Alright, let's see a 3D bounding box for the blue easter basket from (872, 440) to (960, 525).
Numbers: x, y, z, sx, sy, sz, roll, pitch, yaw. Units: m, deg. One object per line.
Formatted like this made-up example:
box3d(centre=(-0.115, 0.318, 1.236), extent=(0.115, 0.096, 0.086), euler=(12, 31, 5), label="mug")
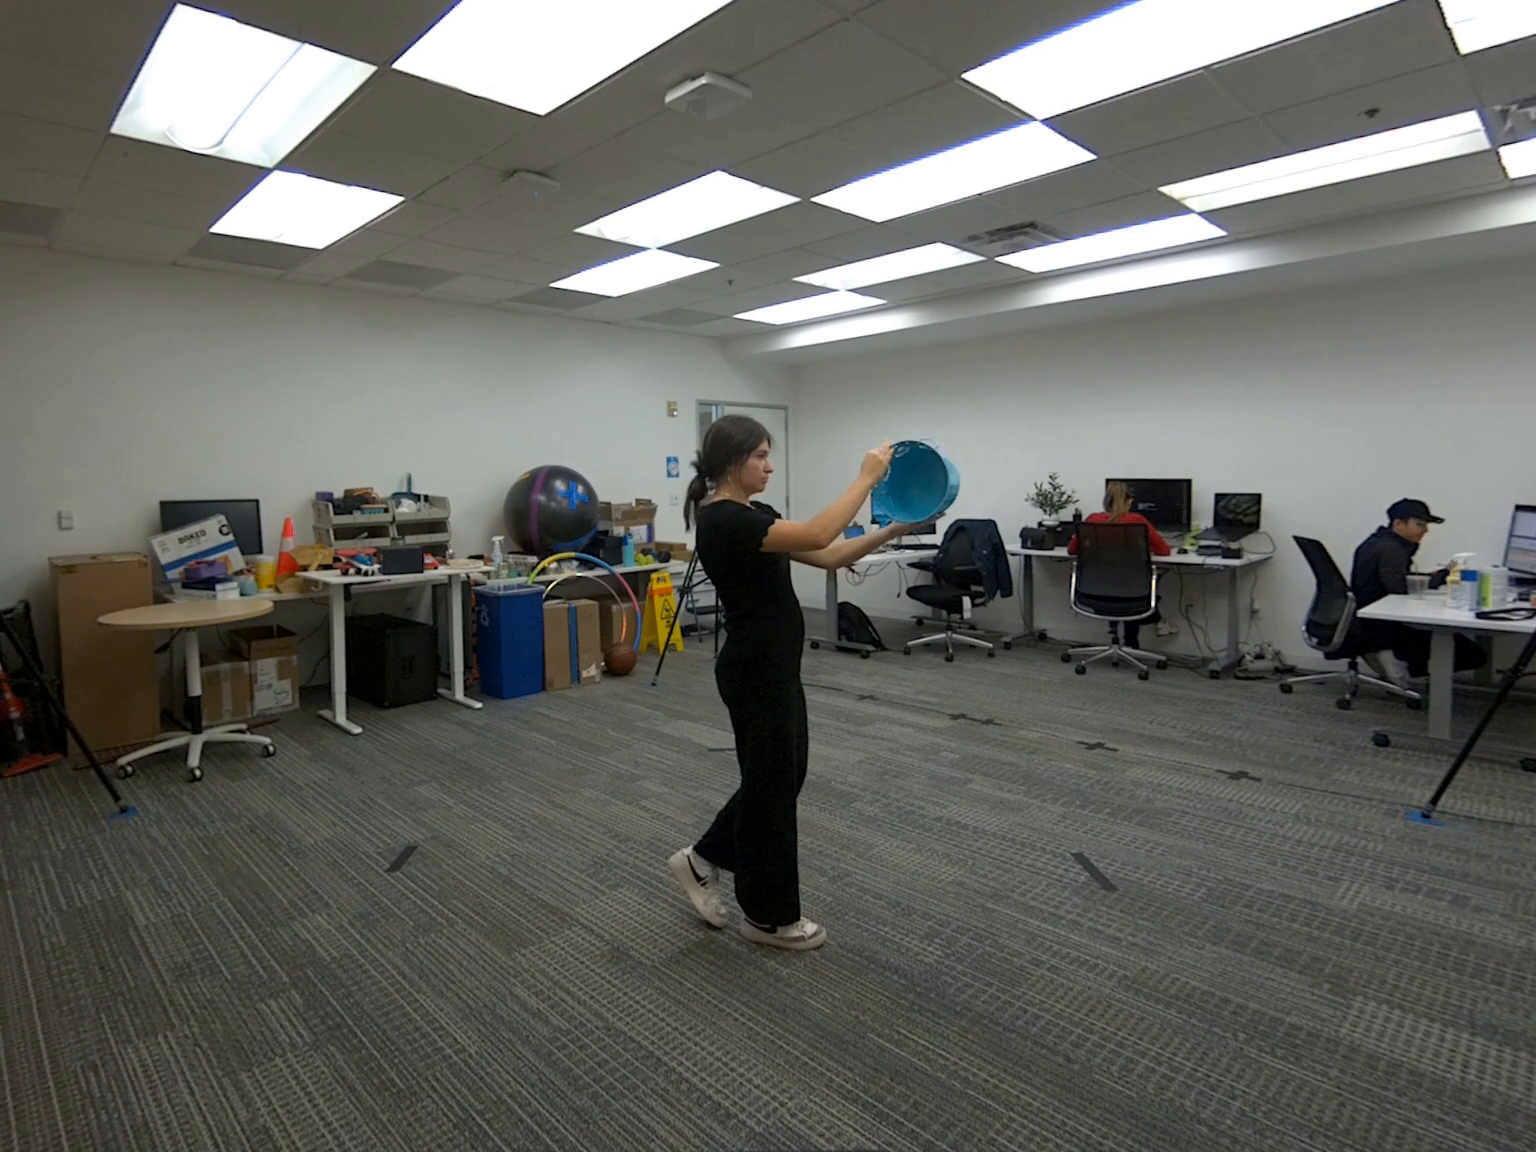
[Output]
box3d(centre=(0.431, -0.269, 2.439), extent=(0.250, 0.243, 0.152), euler=(2, 1, 32), label="blue easter basket")
